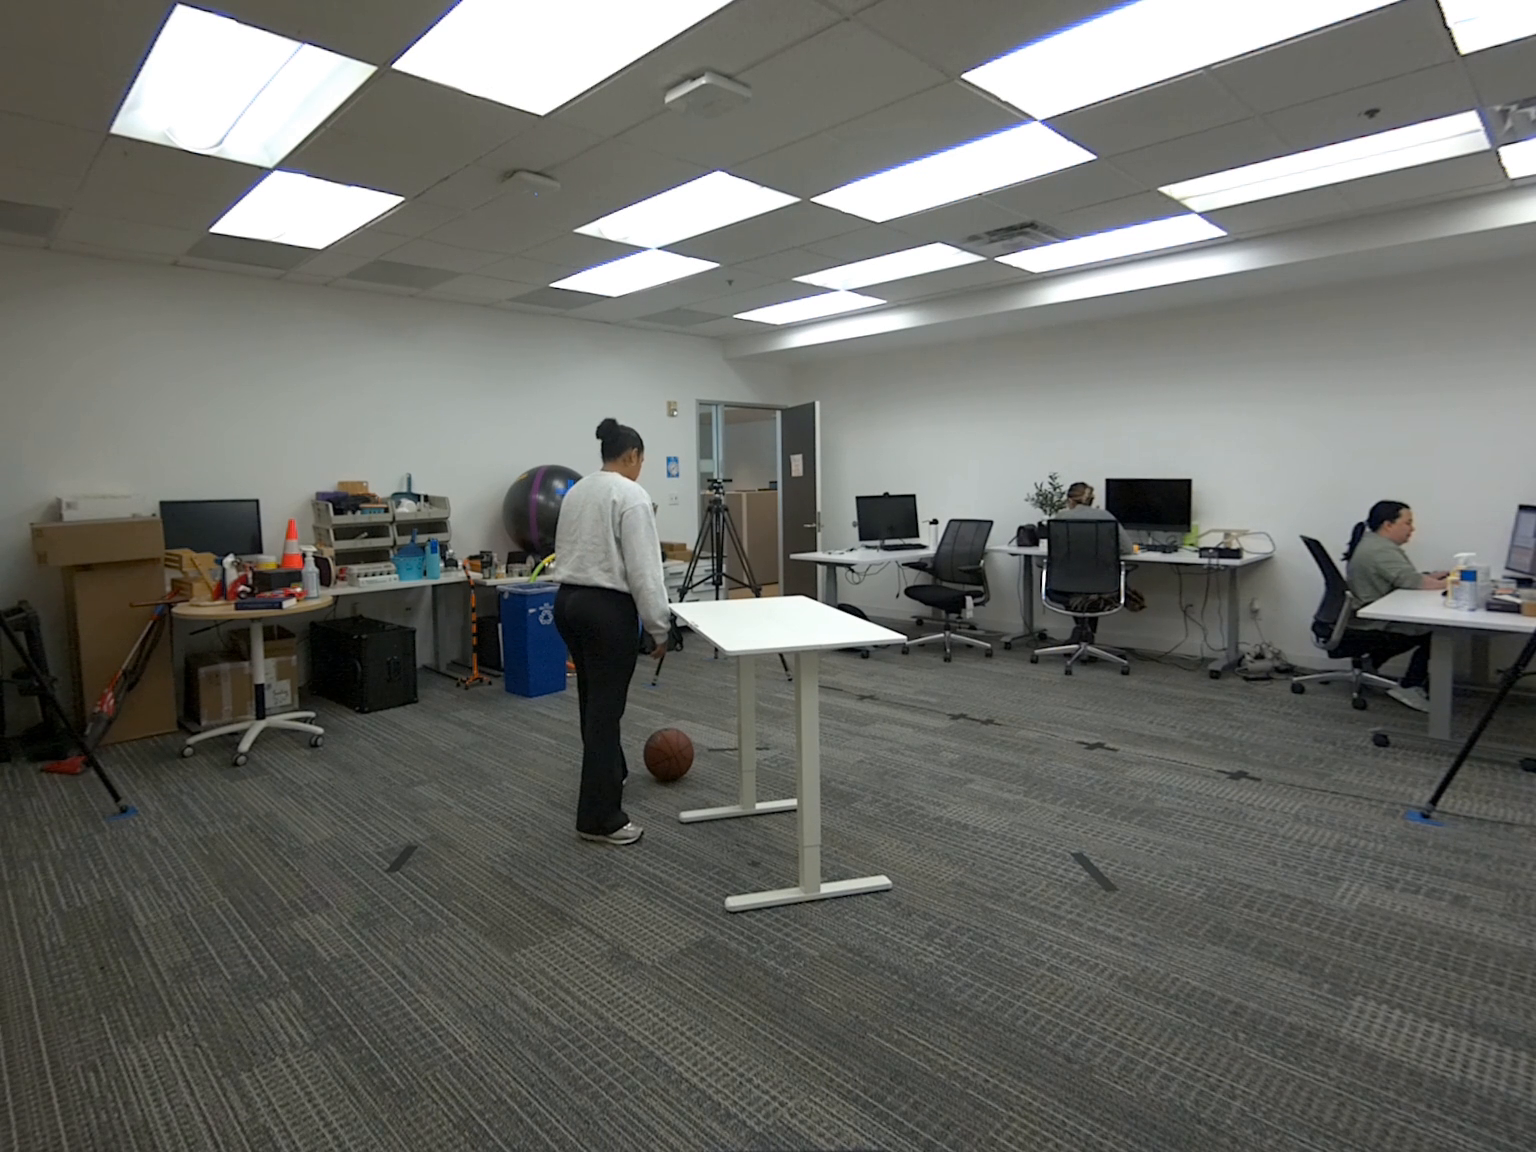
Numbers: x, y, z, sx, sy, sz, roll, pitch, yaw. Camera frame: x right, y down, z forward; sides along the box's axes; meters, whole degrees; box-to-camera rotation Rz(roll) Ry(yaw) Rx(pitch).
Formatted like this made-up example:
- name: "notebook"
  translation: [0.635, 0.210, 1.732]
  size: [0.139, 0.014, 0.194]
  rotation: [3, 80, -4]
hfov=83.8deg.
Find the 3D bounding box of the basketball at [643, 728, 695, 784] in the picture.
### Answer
- name: "basketball"
  translation: [-0.465, 0.835, 4.008]
  size: [0.236, 0.235, 0.237]
  rotation: [-1, 5, -2]
